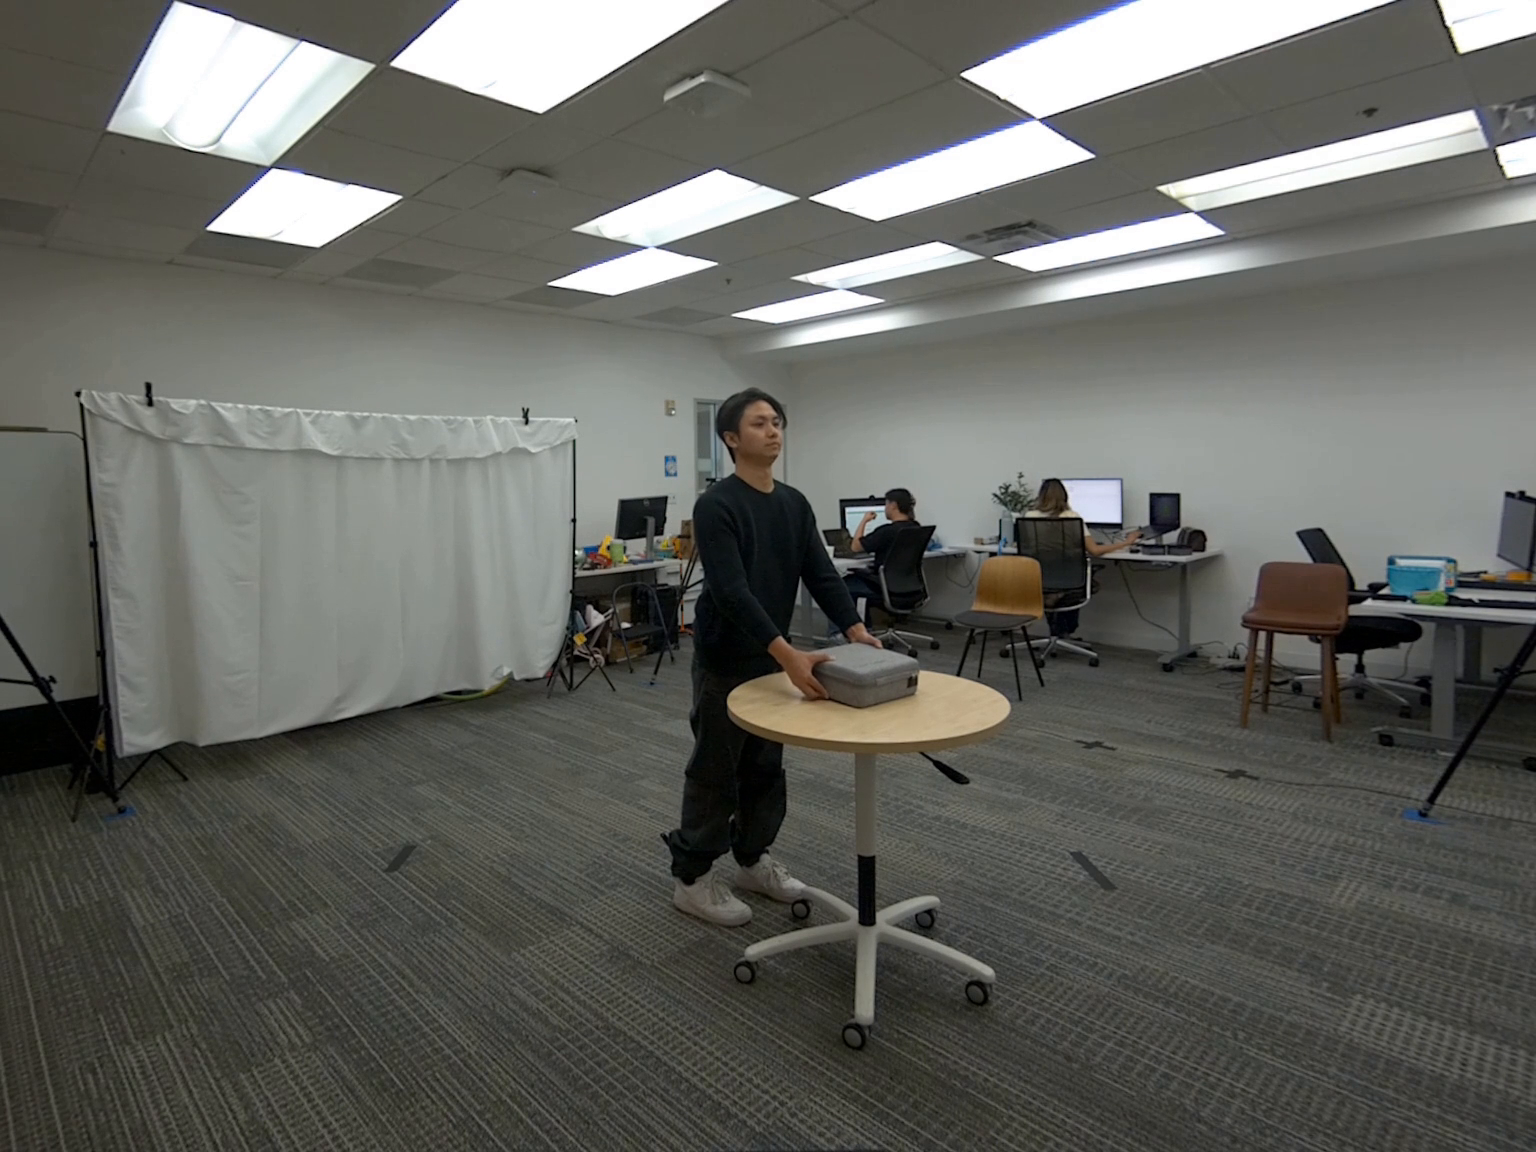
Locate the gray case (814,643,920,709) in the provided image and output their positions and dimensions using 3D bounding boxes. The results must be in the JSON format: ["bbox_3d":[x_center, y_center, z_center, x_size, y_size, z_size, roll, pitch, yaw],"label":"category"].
[{"bbox_3d":[0.262,0.278,2.399,0.250,0.103,0.269,-9,14,-43],"label":"gray case"}]
